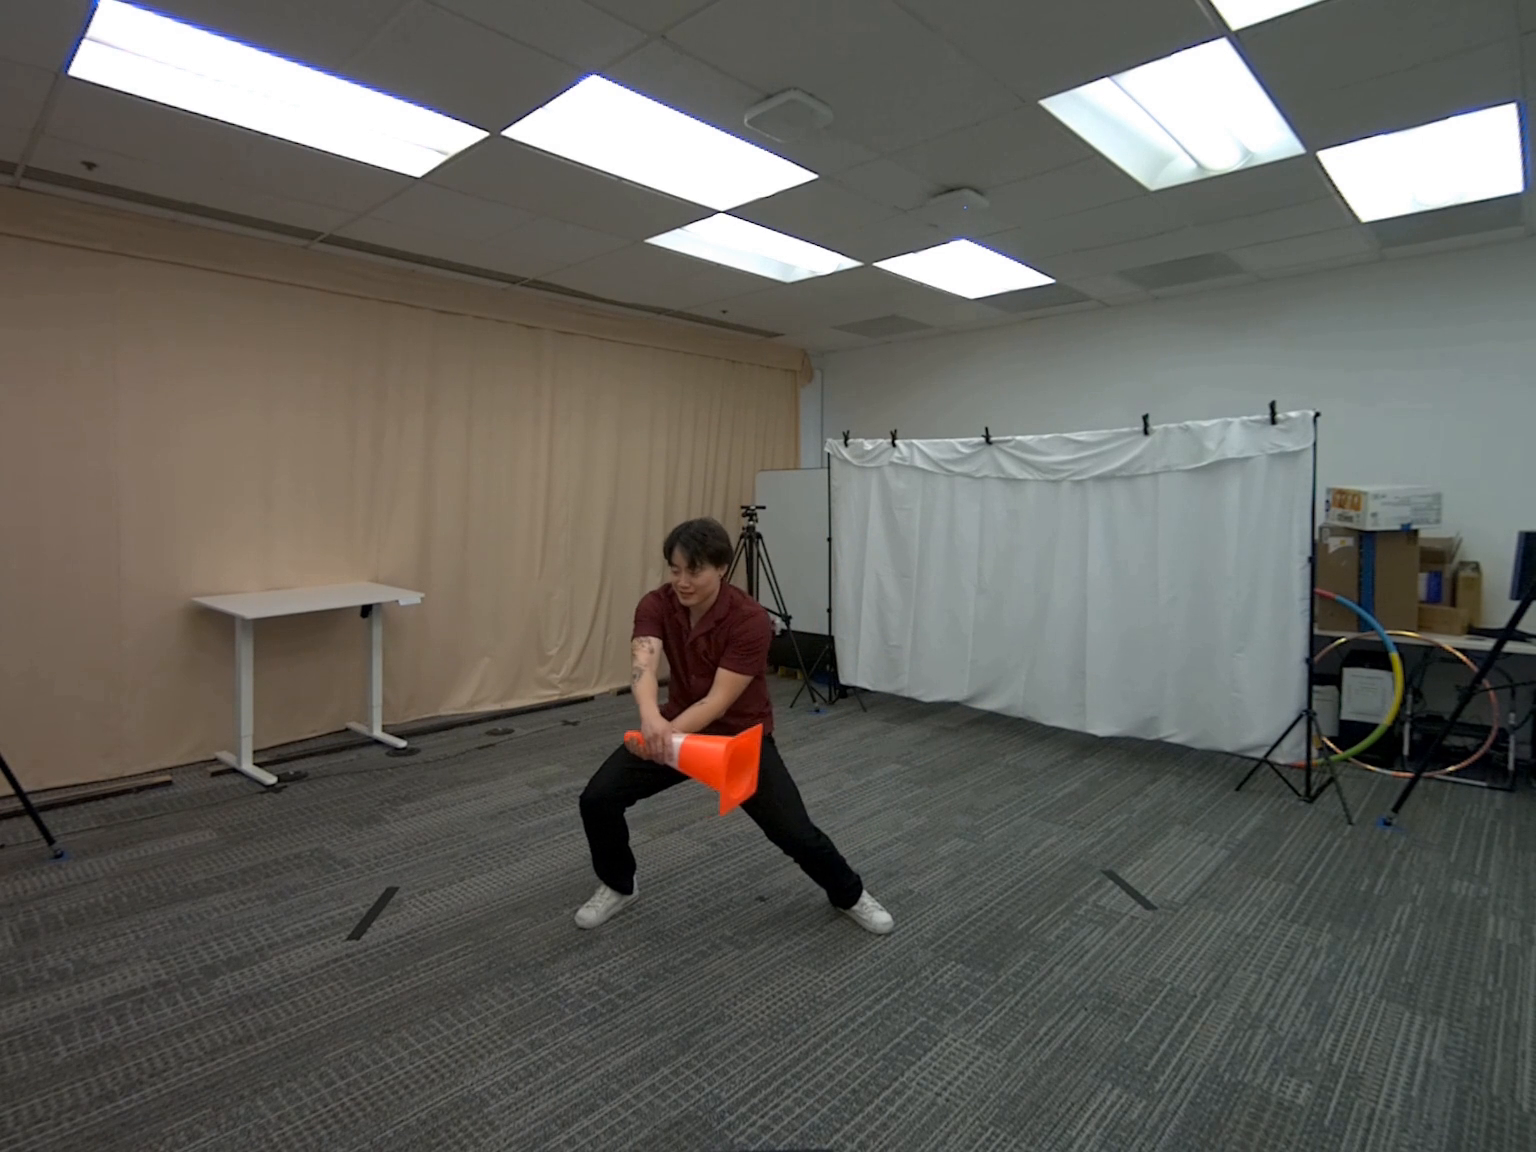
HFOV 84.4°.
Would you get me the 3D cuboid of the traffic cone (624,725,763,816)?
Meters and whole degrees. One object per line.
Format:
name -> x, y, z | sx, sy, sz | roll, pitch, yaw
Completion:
traffic cone -> -0.229, 0.480, 2.319 | 0.395, 0.202, 0.199 | 7, 8, 31
